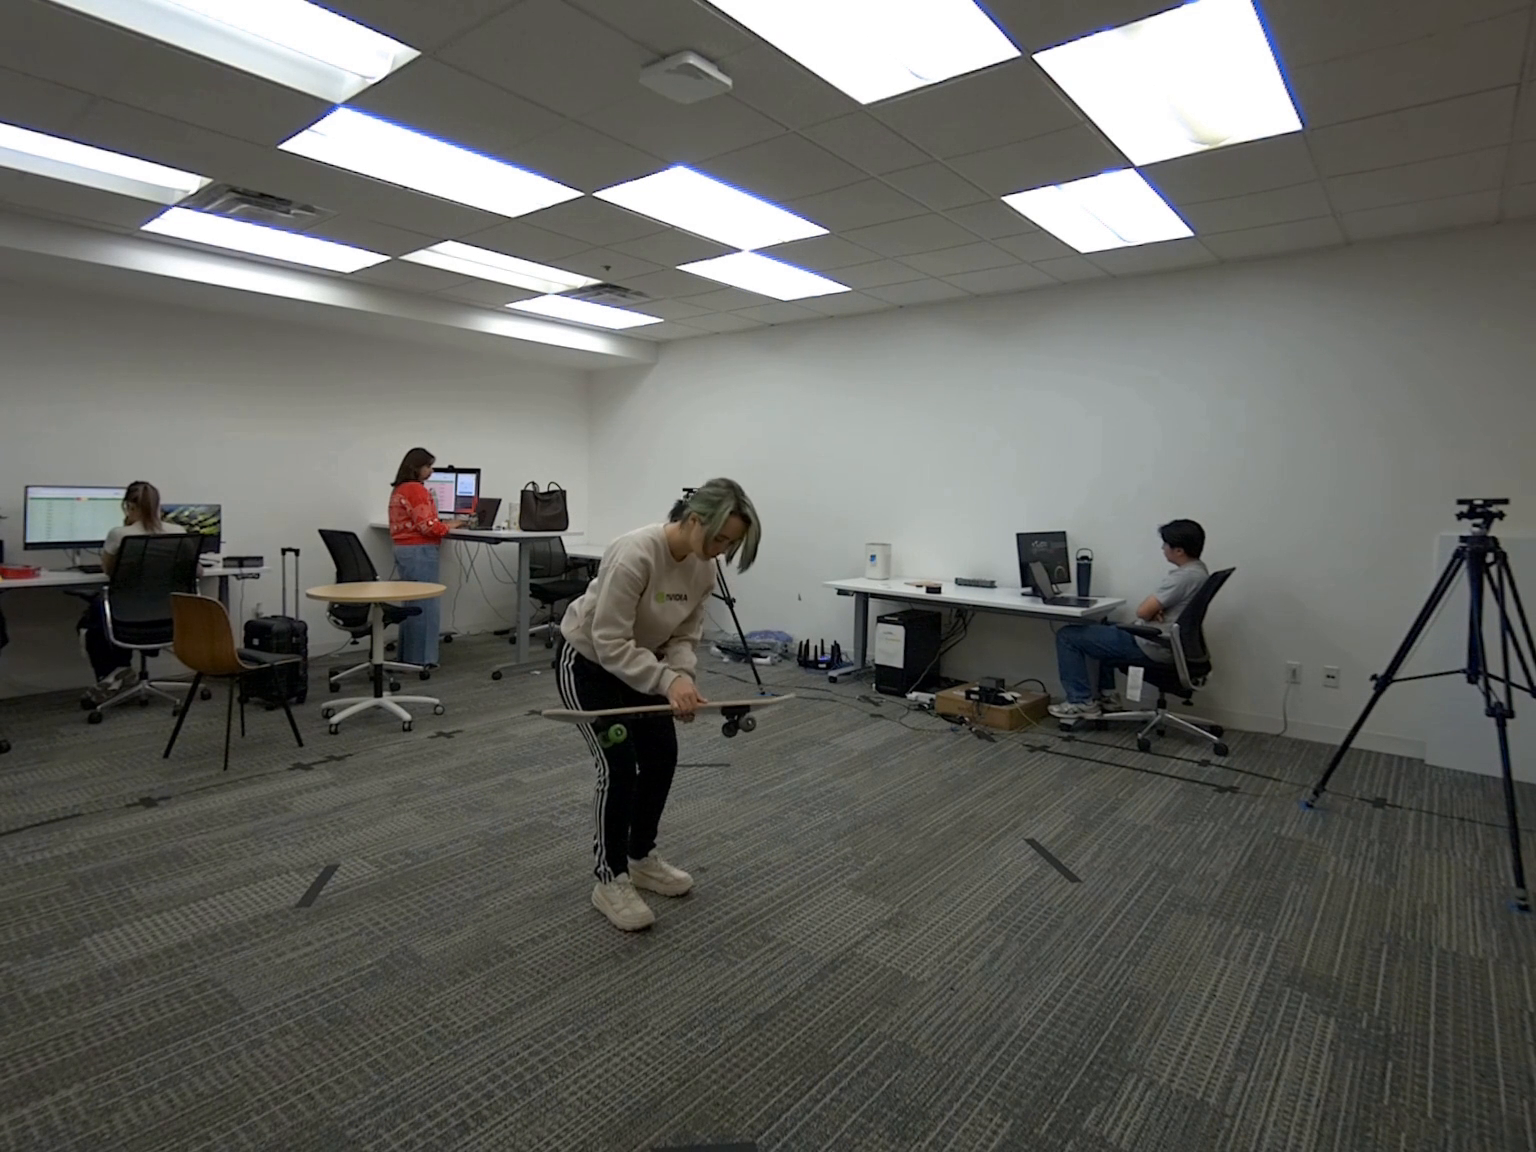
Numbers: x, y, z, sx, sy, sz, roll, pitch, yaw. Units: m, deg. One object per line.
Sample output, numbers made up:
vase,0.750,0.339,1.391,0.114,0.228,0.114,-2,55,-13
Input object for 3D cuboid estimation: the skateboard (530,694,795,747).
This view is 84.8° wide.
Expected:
skateboard,-0.288,0.436,2.545,0.770,0.112,0.194,-1,-18,-20
